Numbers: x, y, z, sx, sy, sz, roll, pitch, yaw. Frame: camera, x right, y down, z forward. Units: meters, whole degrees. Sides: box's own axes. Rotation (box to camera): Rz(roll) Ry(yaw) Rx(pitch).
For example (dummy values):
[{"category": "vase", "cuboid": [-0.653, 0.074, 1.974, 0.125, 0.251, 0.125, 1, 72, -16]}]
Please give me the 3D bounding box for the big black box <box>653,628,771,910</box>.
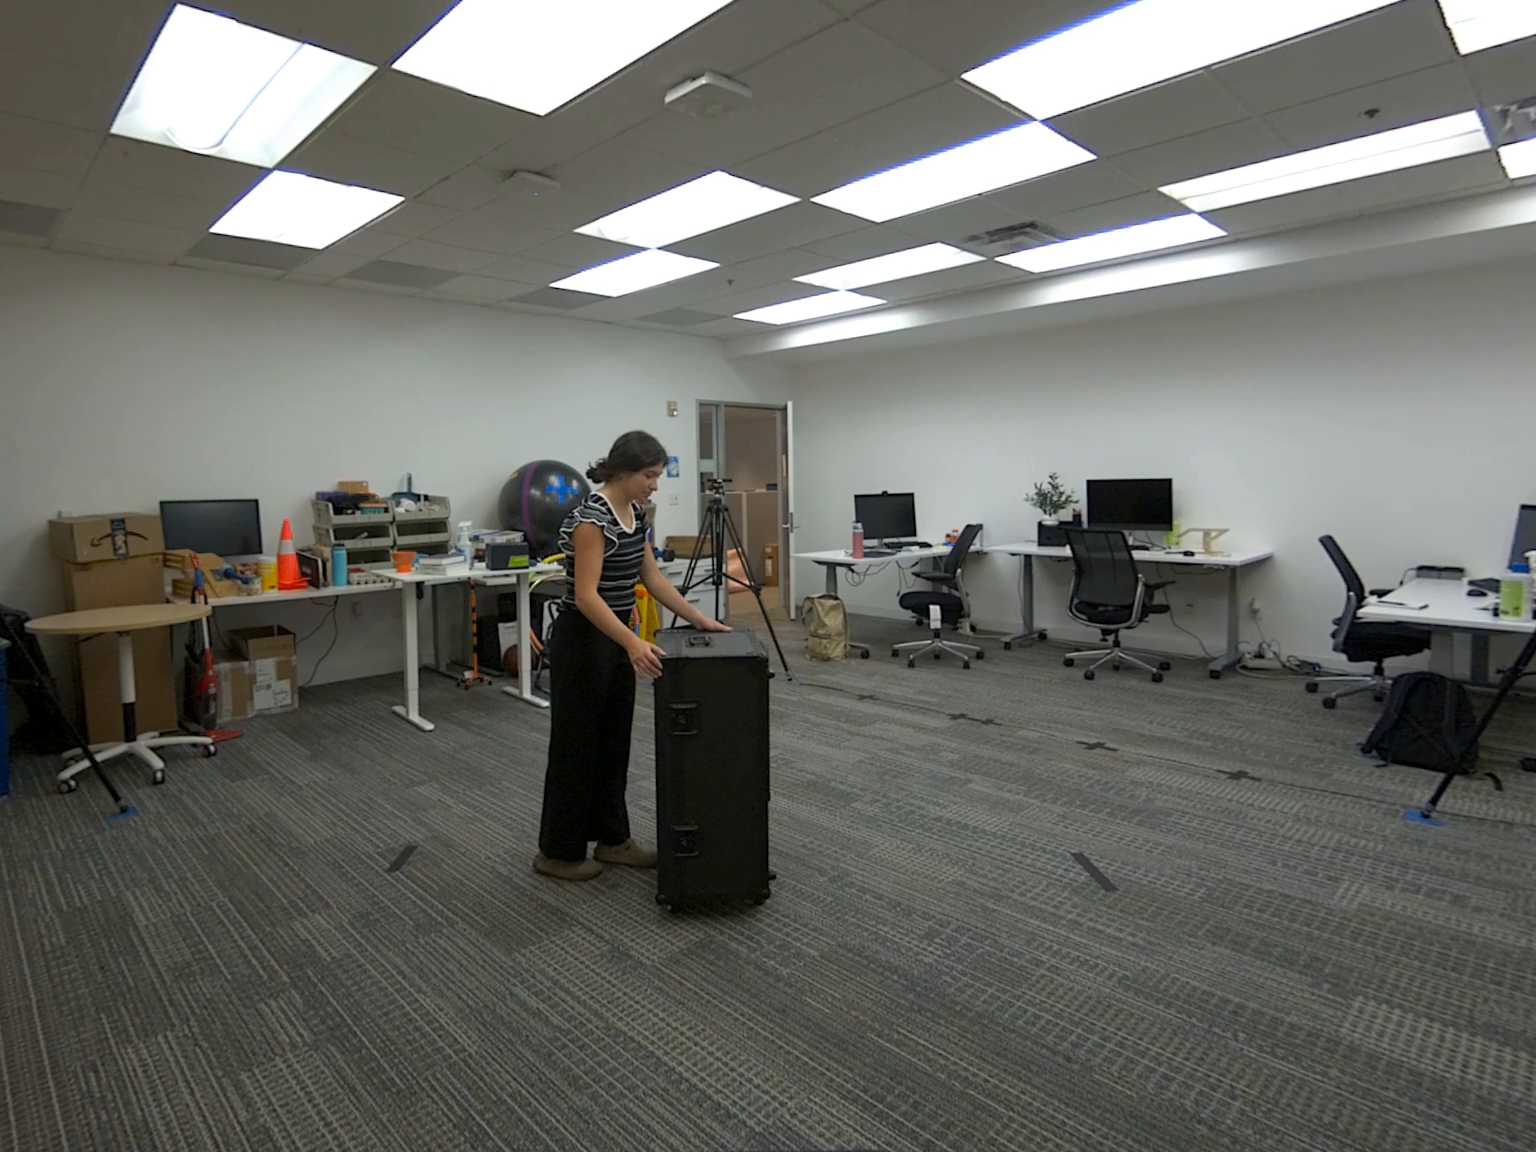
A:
[{"category": "big black box", "cuboid": [-0.194, 0.645, 2.913, 0.394, 0.859, 0.525, -1, 3, -6]}]
